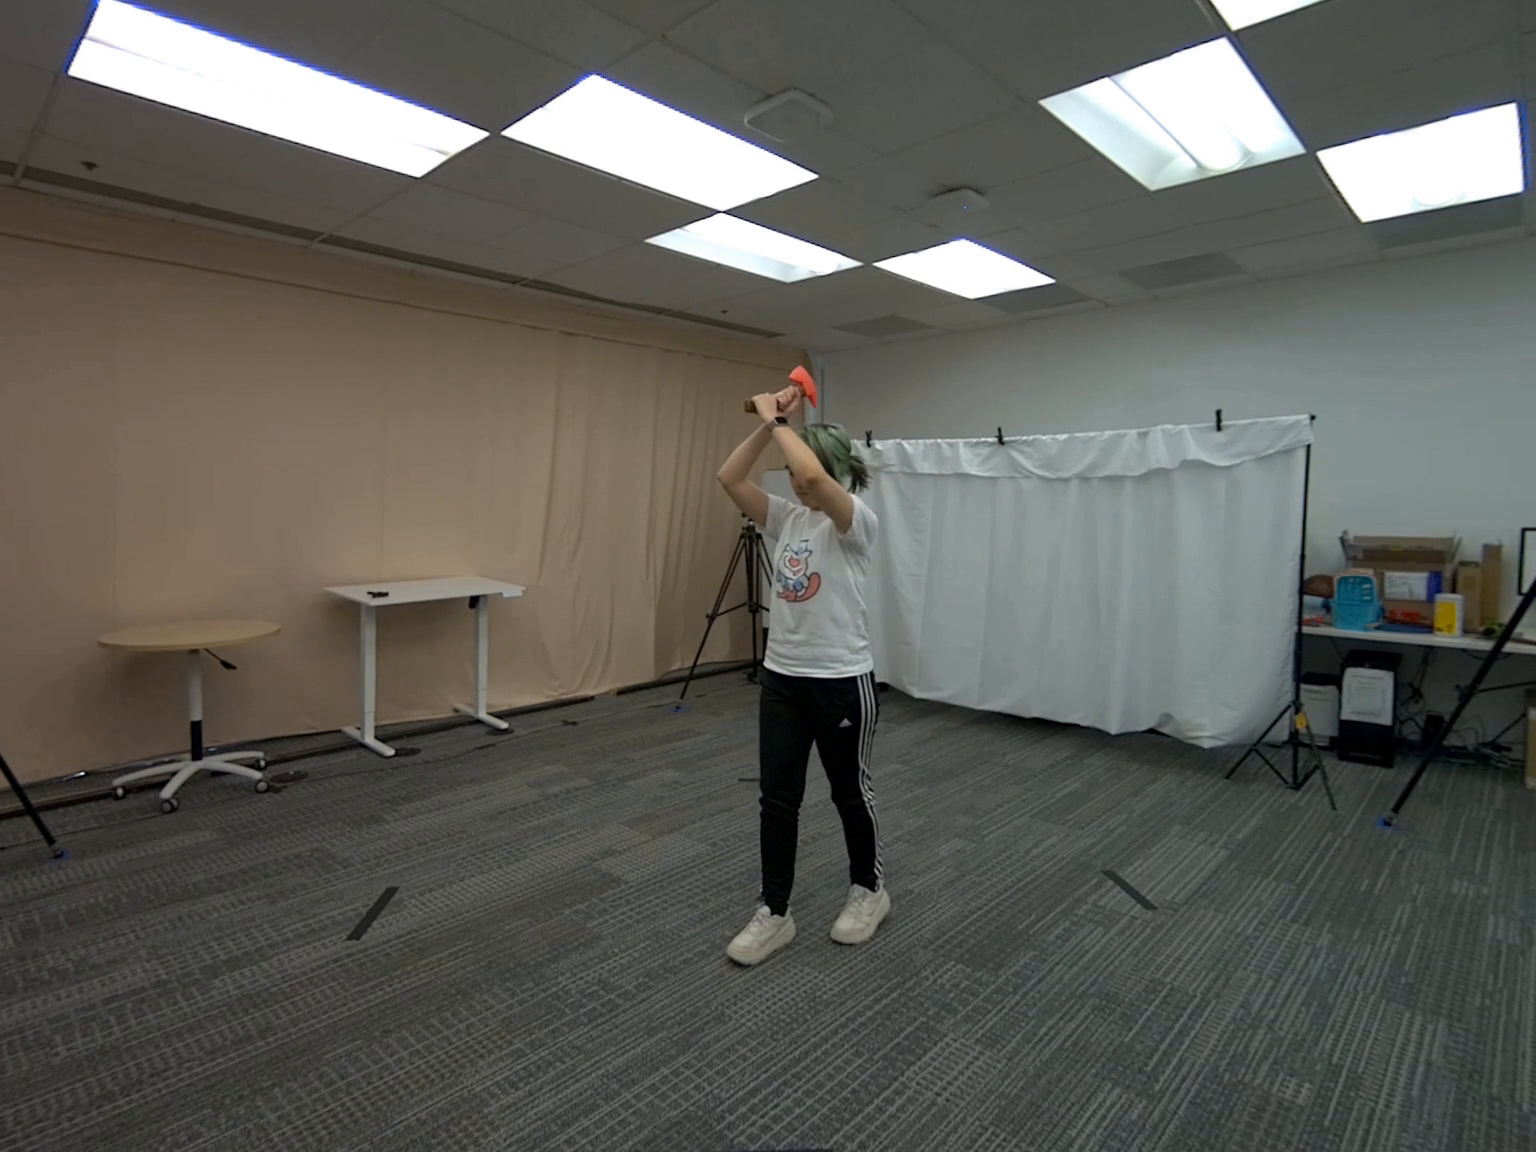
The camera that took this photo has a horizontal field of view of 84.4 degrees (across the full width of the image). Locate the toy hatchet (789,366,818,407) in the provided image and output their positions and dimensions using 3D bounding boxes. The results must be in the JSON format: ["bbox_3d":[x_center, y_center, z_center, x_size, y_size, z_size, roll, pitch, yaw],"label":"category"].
[{"bbox_3d":[0.034,-0.565,2.516,0.263,0.130,0.030,-10,6,-32],"label":"toy hatchet"}]
